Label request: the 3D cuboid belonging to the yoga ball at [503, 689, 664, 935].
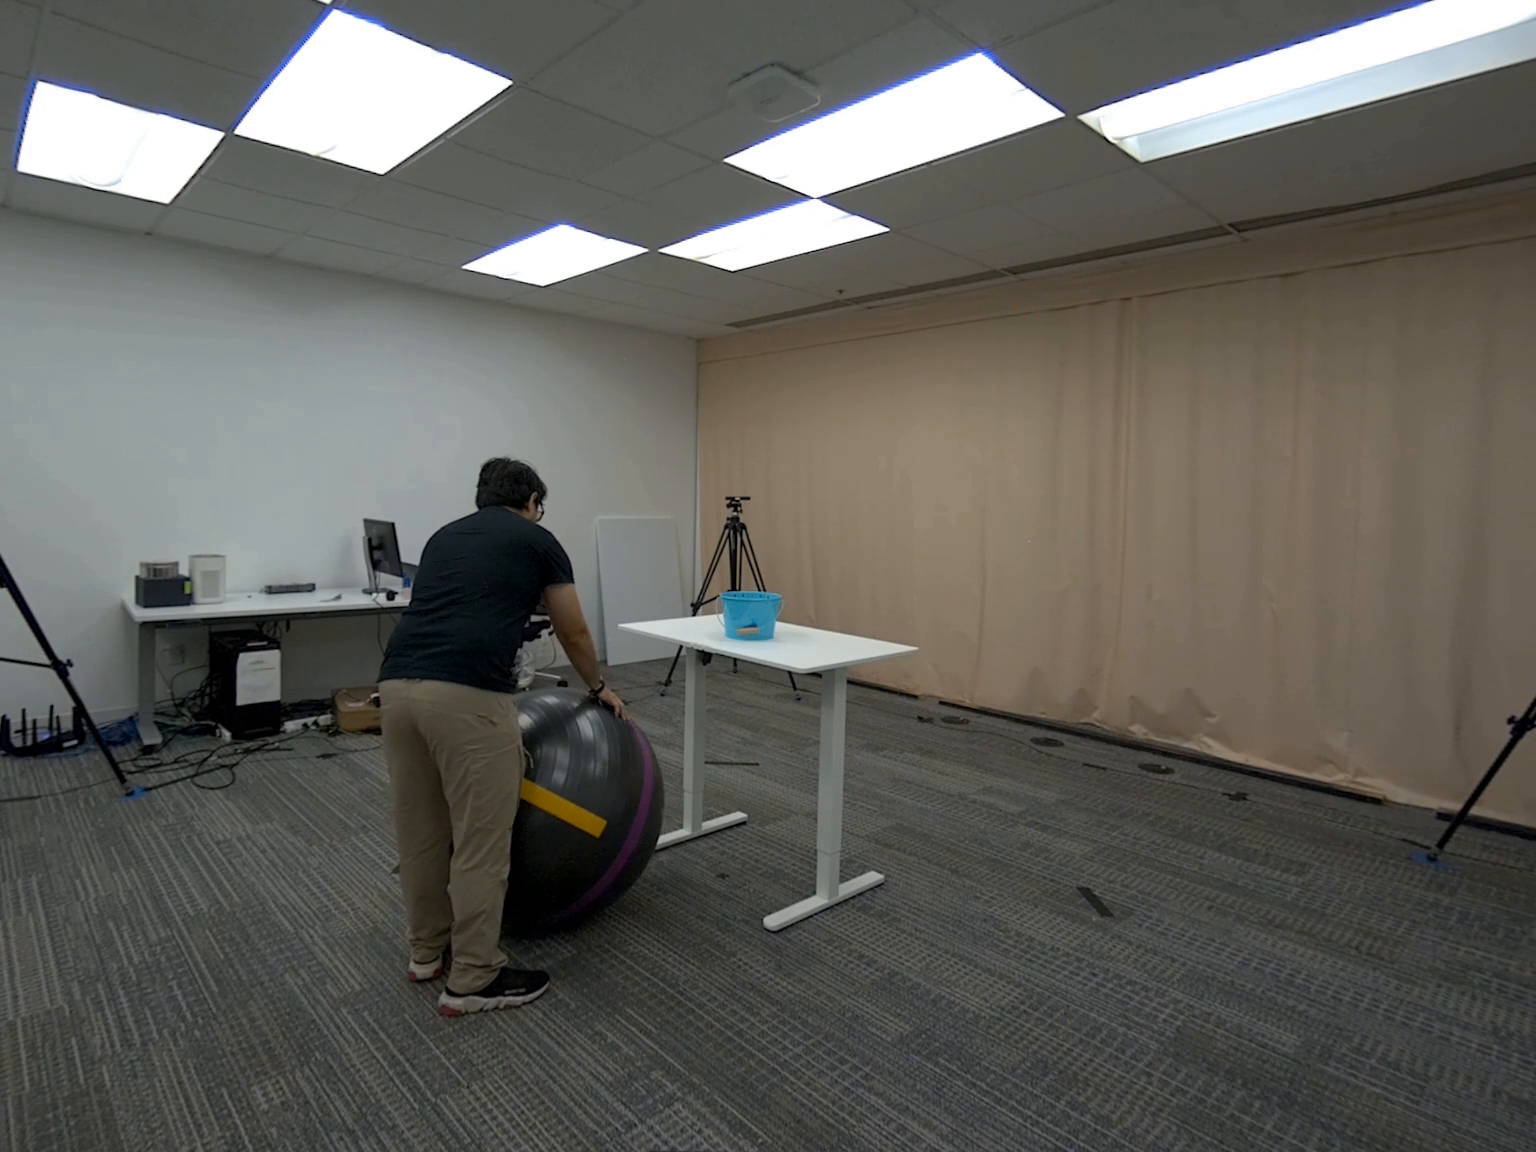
[{"bbox_3d":[-0.745,0.766,2.775,0.757,0.756,0.761,1,4,-1],"label":"yoga ball"}]
